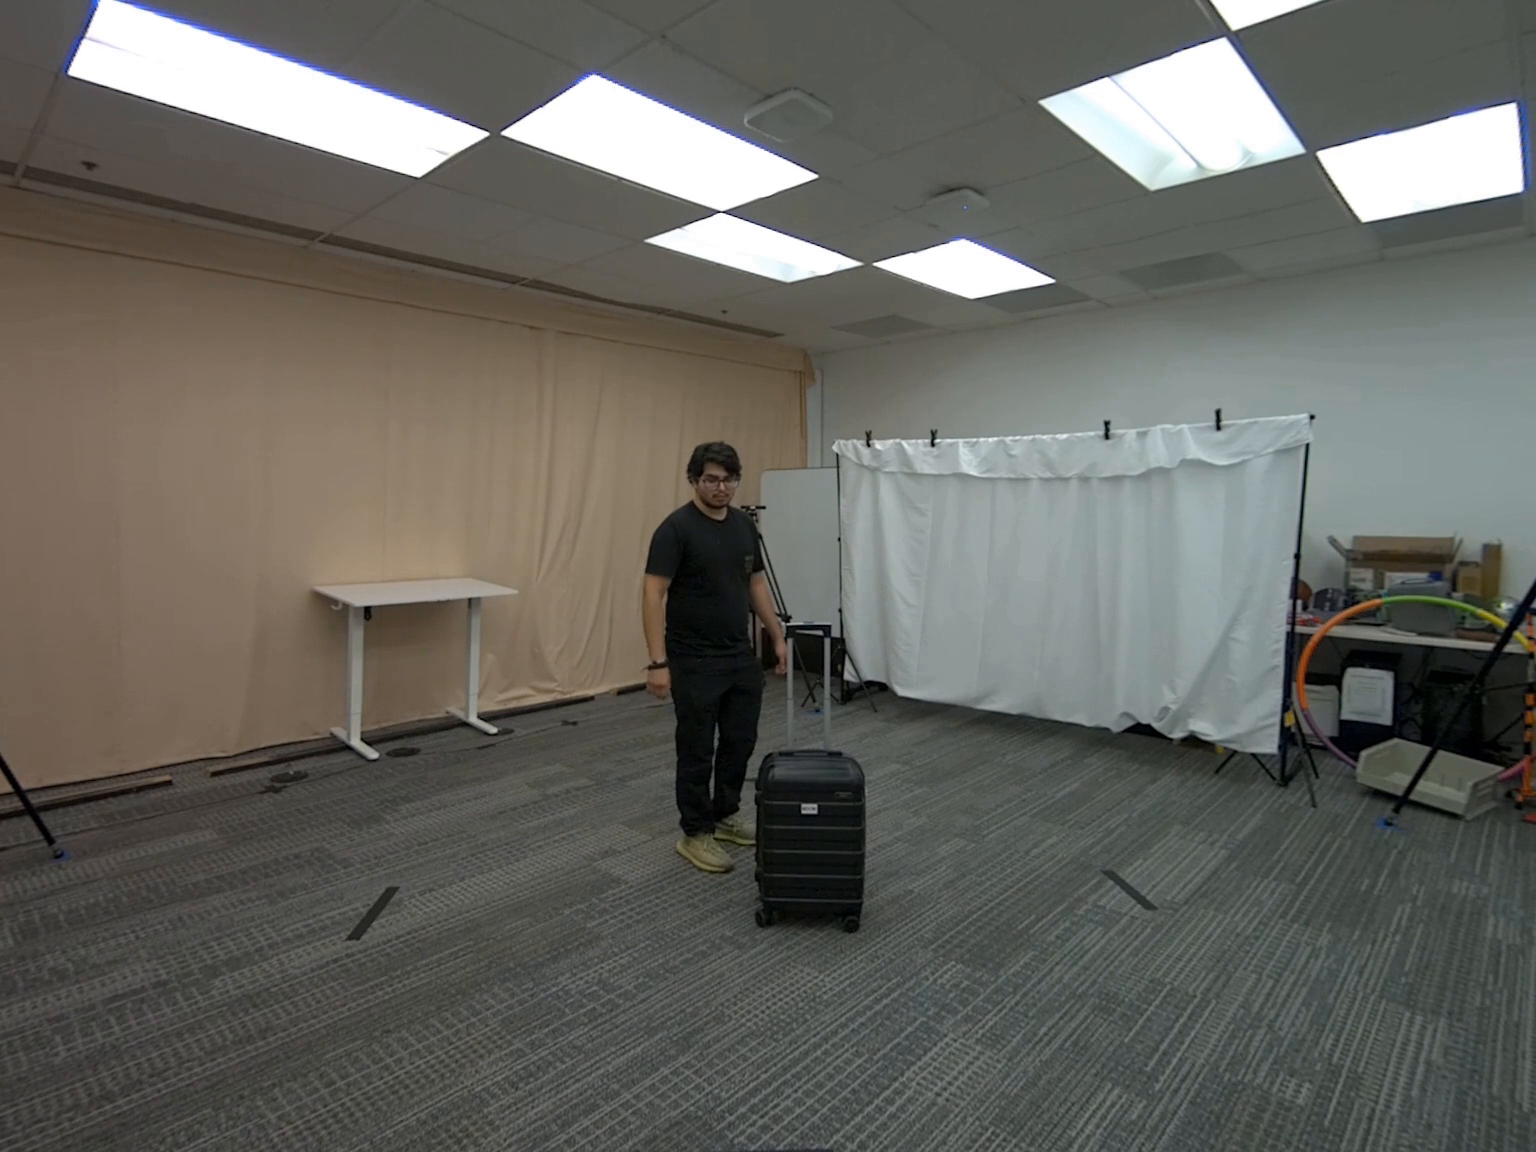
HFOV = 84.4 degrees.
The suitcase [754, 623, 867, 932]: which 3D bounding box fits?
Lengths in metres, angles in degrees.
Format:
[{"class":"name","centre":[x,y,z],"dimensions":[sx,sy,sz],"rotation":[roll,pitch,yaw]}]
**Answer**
[{"class":"suitcase","centre":[0.151,0.678,2.844],"dimensions":[0.385,0.975,0.257],"rotation":[0,5,2]}]
